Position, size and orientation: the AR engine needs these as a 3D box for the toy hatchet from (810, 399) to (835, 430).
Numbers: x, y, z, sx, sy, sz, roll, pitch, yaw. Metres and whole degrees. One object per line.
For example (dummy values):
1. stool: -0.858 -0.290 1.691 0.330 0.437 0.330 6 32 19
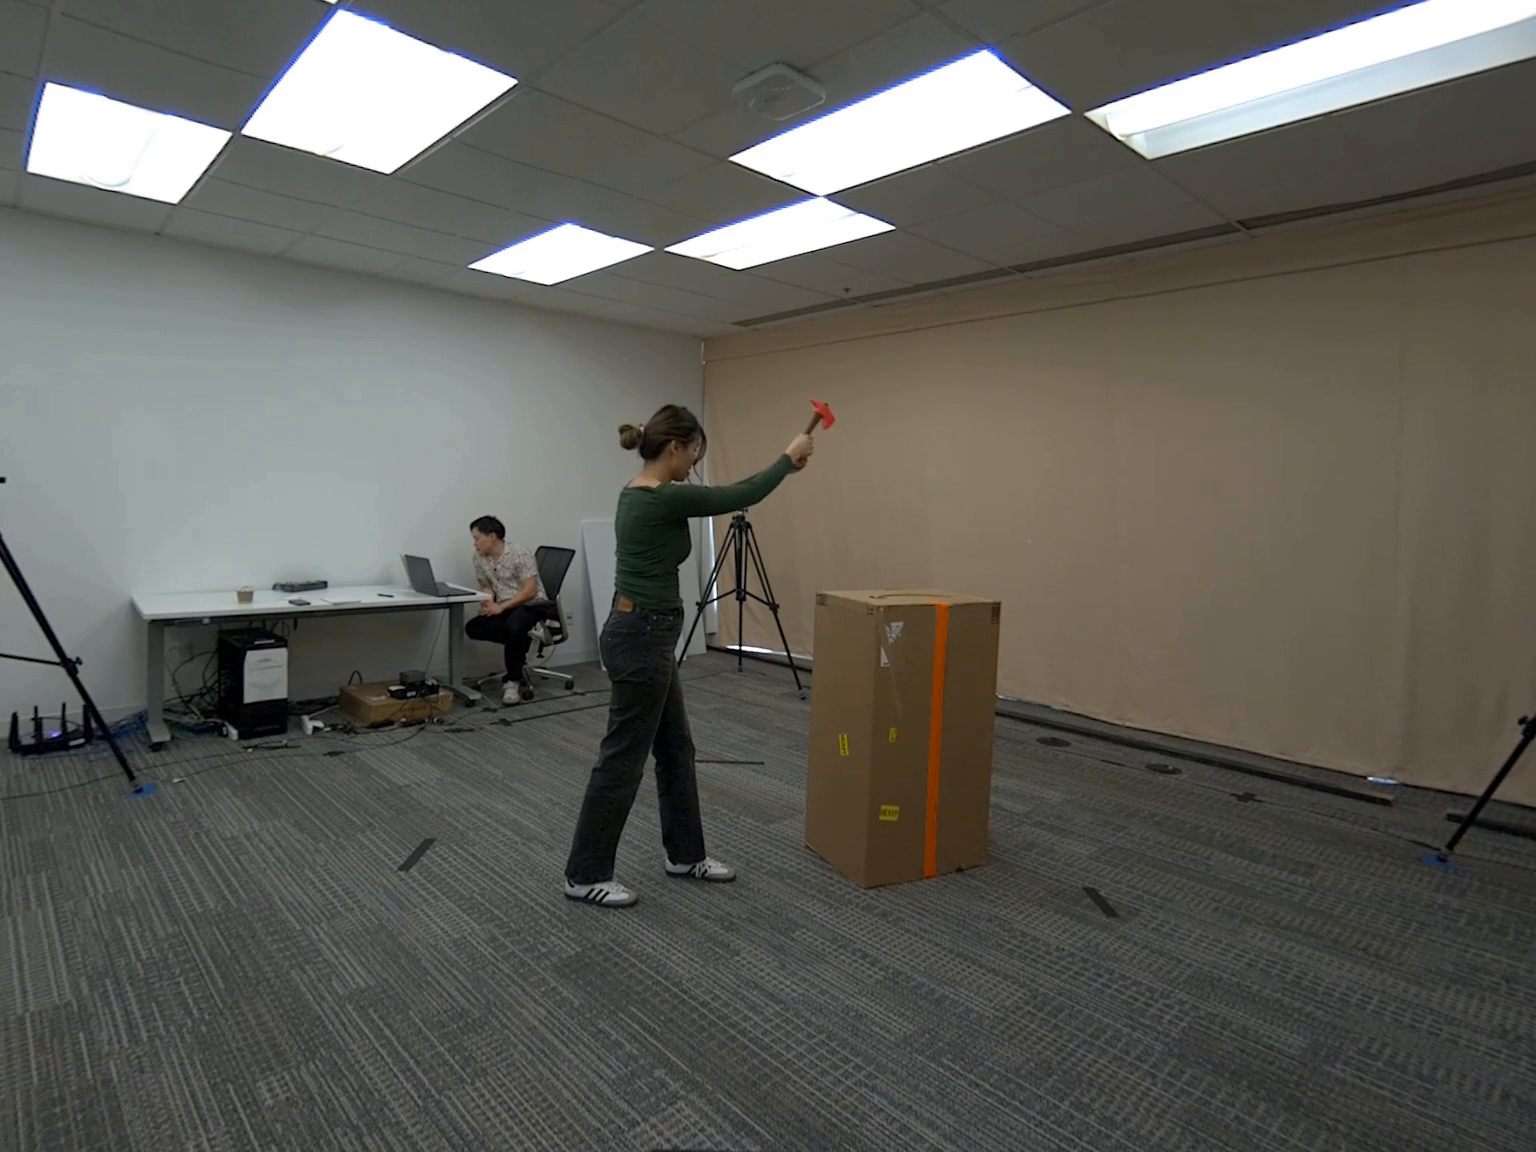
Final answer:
1. toy hatchet: 0.162 -0.509 3.100 0.128 0.270 0.030 19 -5 -31
